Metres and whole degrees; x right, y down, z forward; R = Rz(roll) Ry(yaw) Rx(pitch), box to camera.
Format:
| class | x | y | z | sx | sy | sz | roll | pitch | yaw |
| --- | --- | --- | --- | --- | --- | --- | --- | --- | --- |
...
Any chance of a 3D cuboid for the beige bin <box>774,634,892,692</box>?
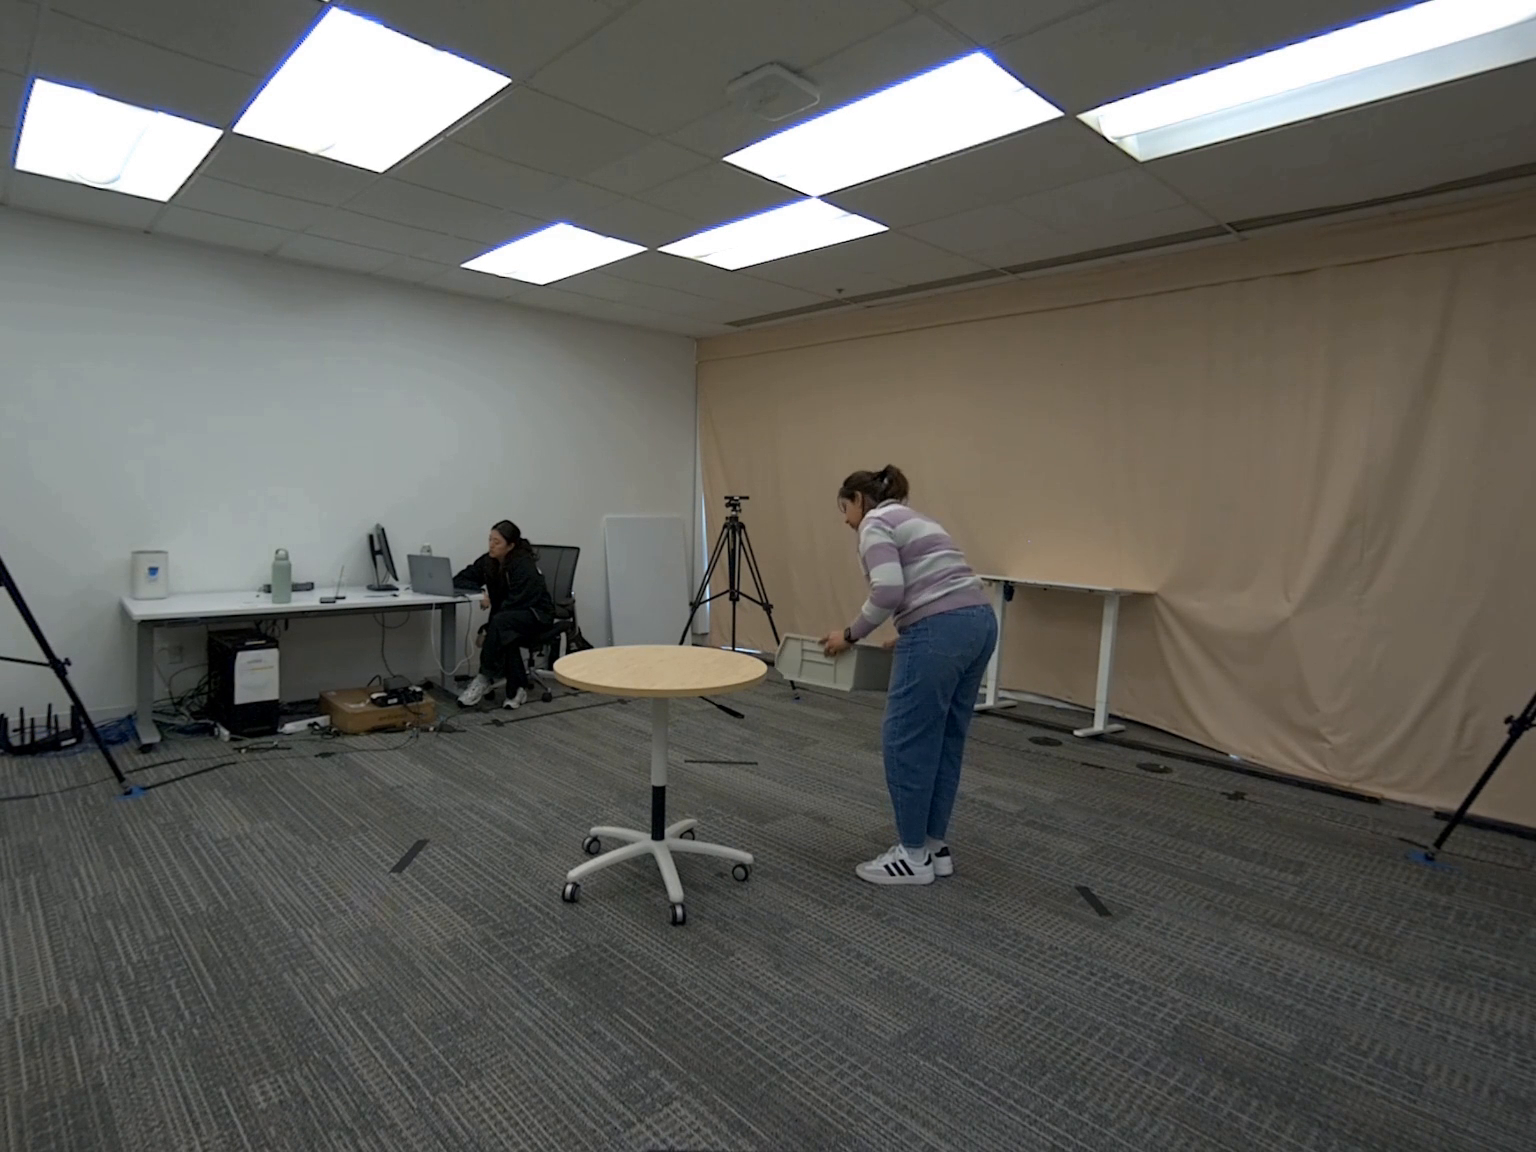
| class | x | y | z | sx | sy | sz | roll | pitch | yaw |
| --- | --- | --- | --- | --- | --- | --- | --- | --- | --- |
| beige bin | 0.300 | 0.355 | 3.411 | 0.387 | 0.189 | 0.411 | 8 | -2 | 39 |
